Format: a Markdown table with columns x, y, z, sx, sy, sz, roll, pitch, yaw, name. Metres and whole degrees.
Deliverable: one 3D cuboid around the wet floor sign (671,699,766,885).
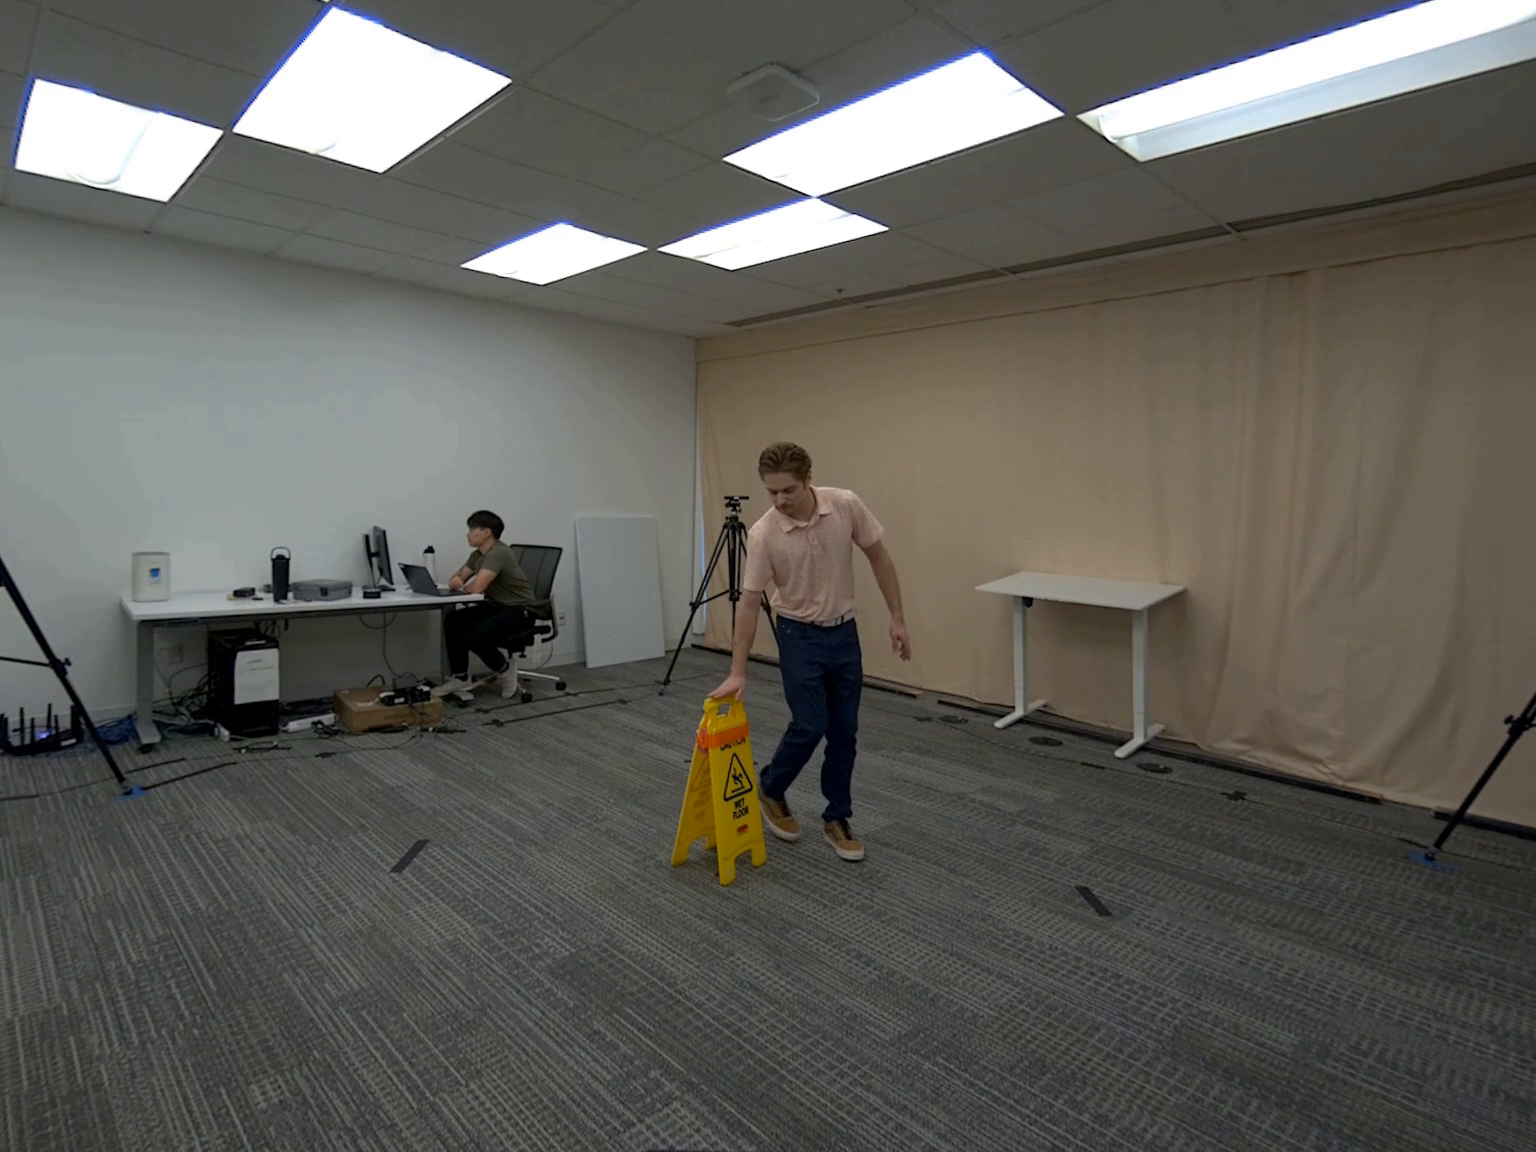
| x | y | z | sx | sy | sz | roll | pitch | yaw | name |
| --- | --- | --- | --- | --- | --- | --- | --- | --- | --- |
| -0.180 | 0.773 | 3.174 | 0.297 | 0.644 | 0.276 | 4 | 5 | 36 | wet floor sign |
